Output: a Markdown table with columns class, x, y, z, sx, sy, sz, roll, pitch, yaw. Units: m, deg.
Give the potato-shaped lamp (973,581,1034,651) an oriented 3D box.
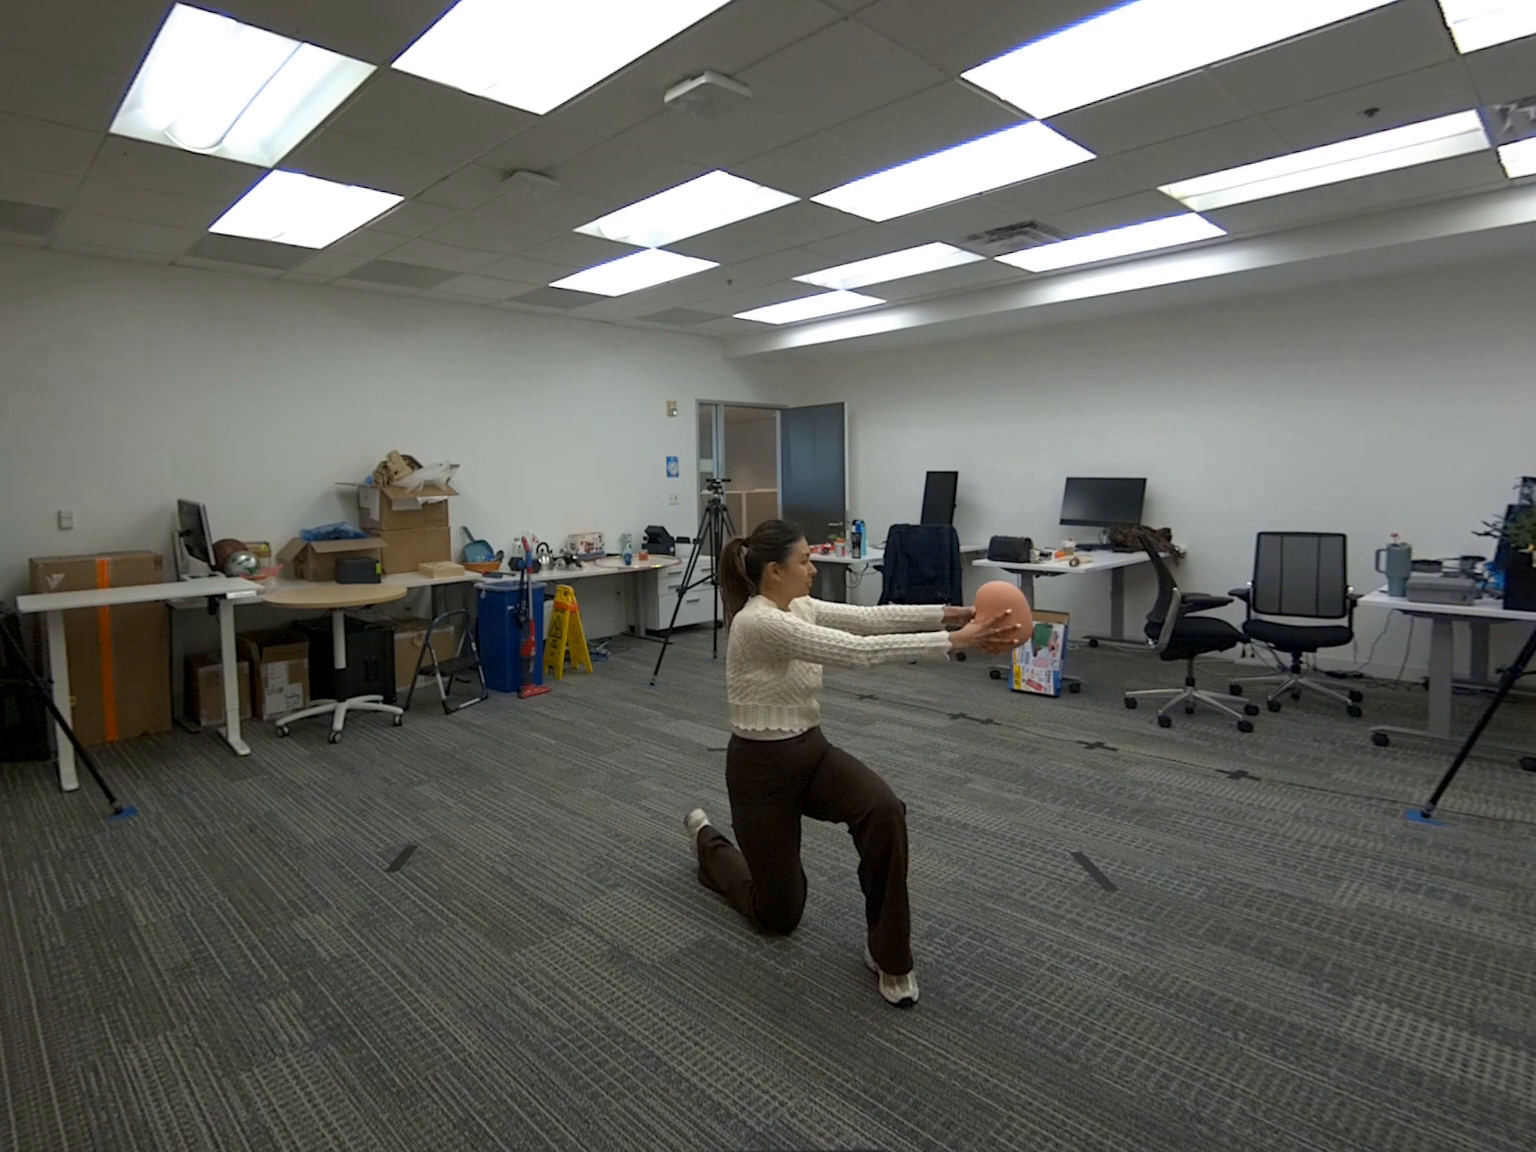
| class | x | y | z | sx | sy | sz | roll | pitch | yaw |
| --- | --- | --- | --- | --- | --- | --- | --- | --- | --- |
| potato-shaped lamp | 0.666 | 0.117 | 2.488 | 0.173 | 0.198 | 0.163 | -17 | 2 | 17 |
